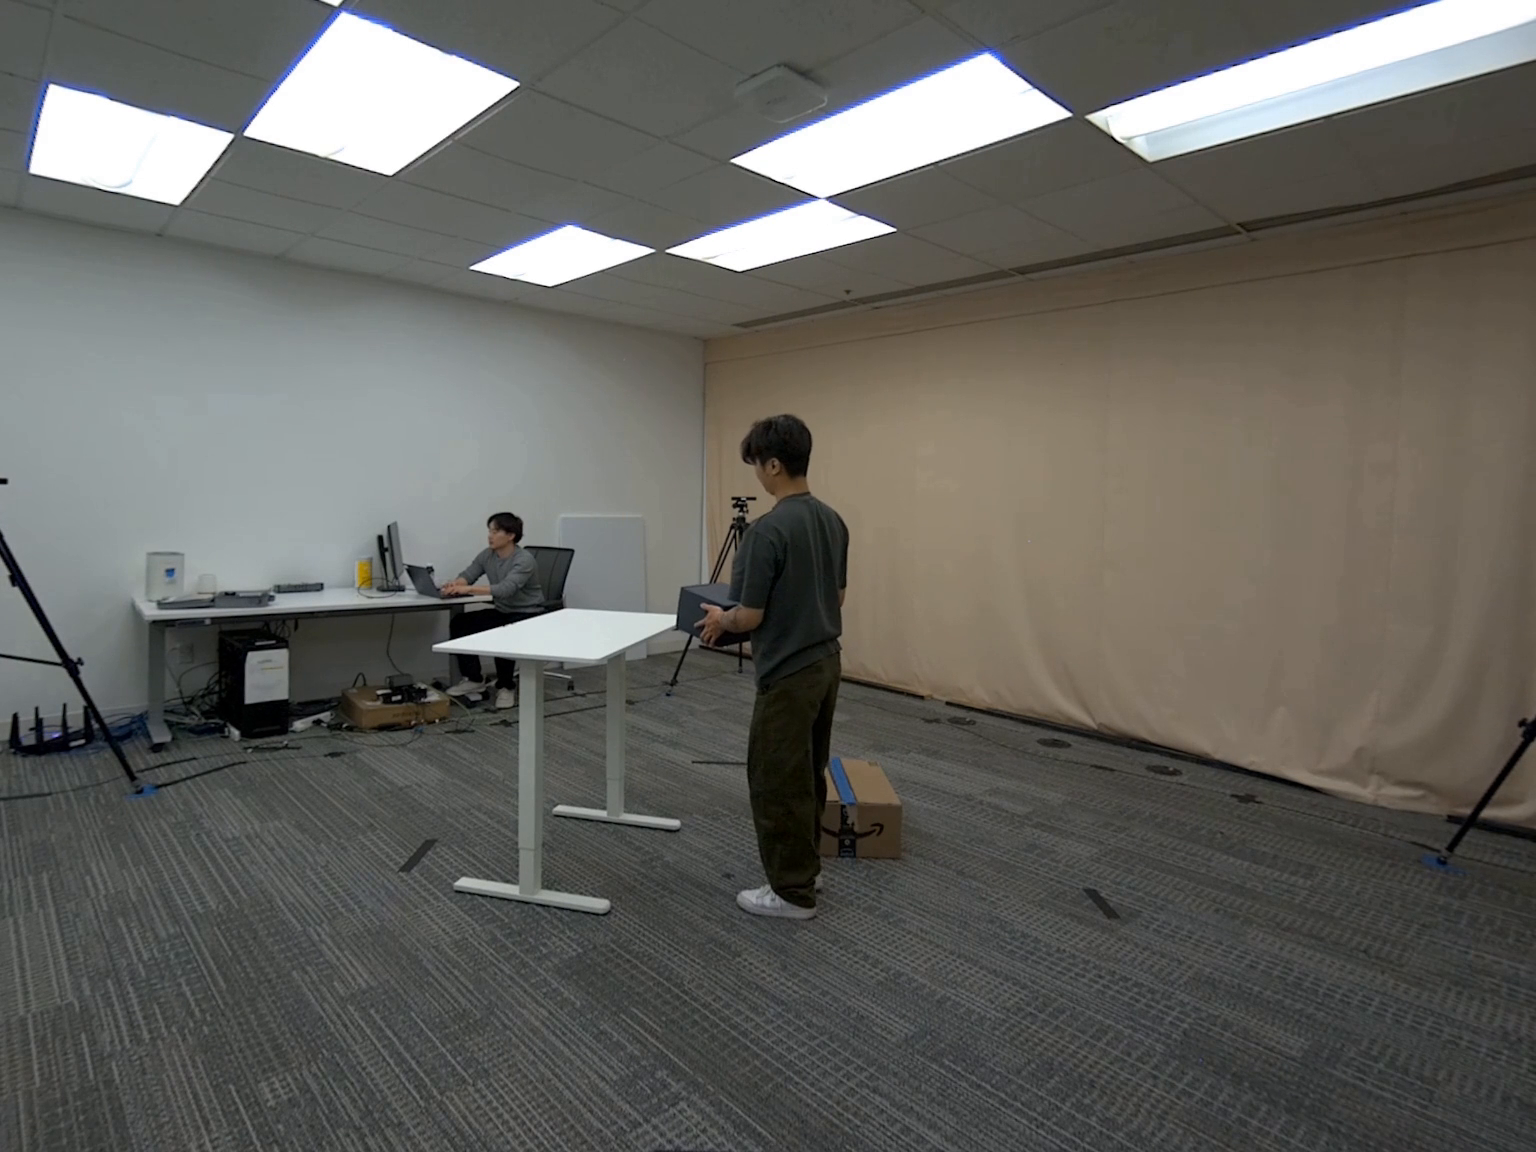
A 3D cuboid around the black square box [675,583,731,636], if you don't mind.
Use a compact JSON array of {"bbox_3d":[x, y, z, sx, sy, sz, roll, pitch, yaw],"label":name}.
[{"bbox_3d":[-0.180,0.133,3.073,0.234,0.155,0.212,17,14,36],"label":"black square box"}]
